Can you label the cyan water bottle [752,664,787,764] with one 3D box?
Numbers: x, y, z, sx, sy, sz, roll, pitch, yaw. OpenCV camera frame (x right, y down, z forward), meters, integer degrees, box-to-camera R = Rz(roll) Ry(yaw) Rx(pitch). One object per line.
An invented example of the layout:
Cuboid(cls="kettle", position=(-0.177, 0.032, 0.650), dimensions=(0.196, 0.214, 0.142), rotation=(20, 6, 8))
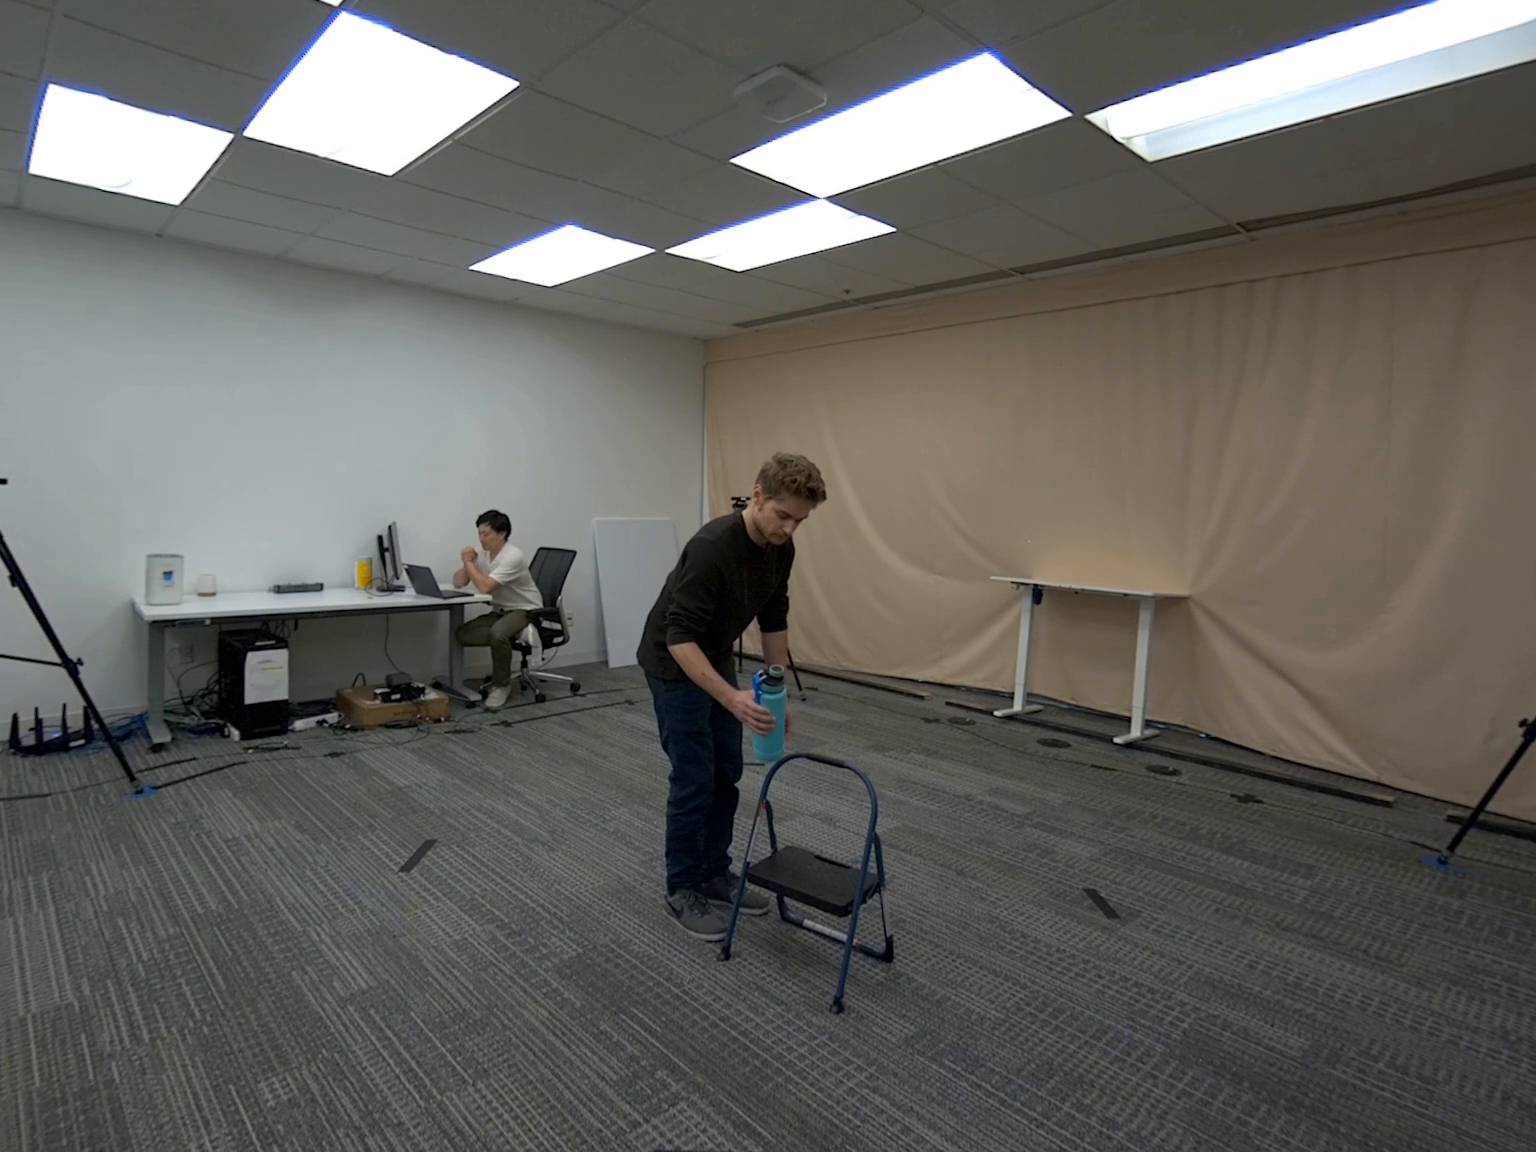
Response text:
Cuboid(cls="cyan water bottle", position=(-0.005, 0.391, 2.344), dimensions=(0.092, 0.278, 0.094), rotation=(0, 28, -1))
